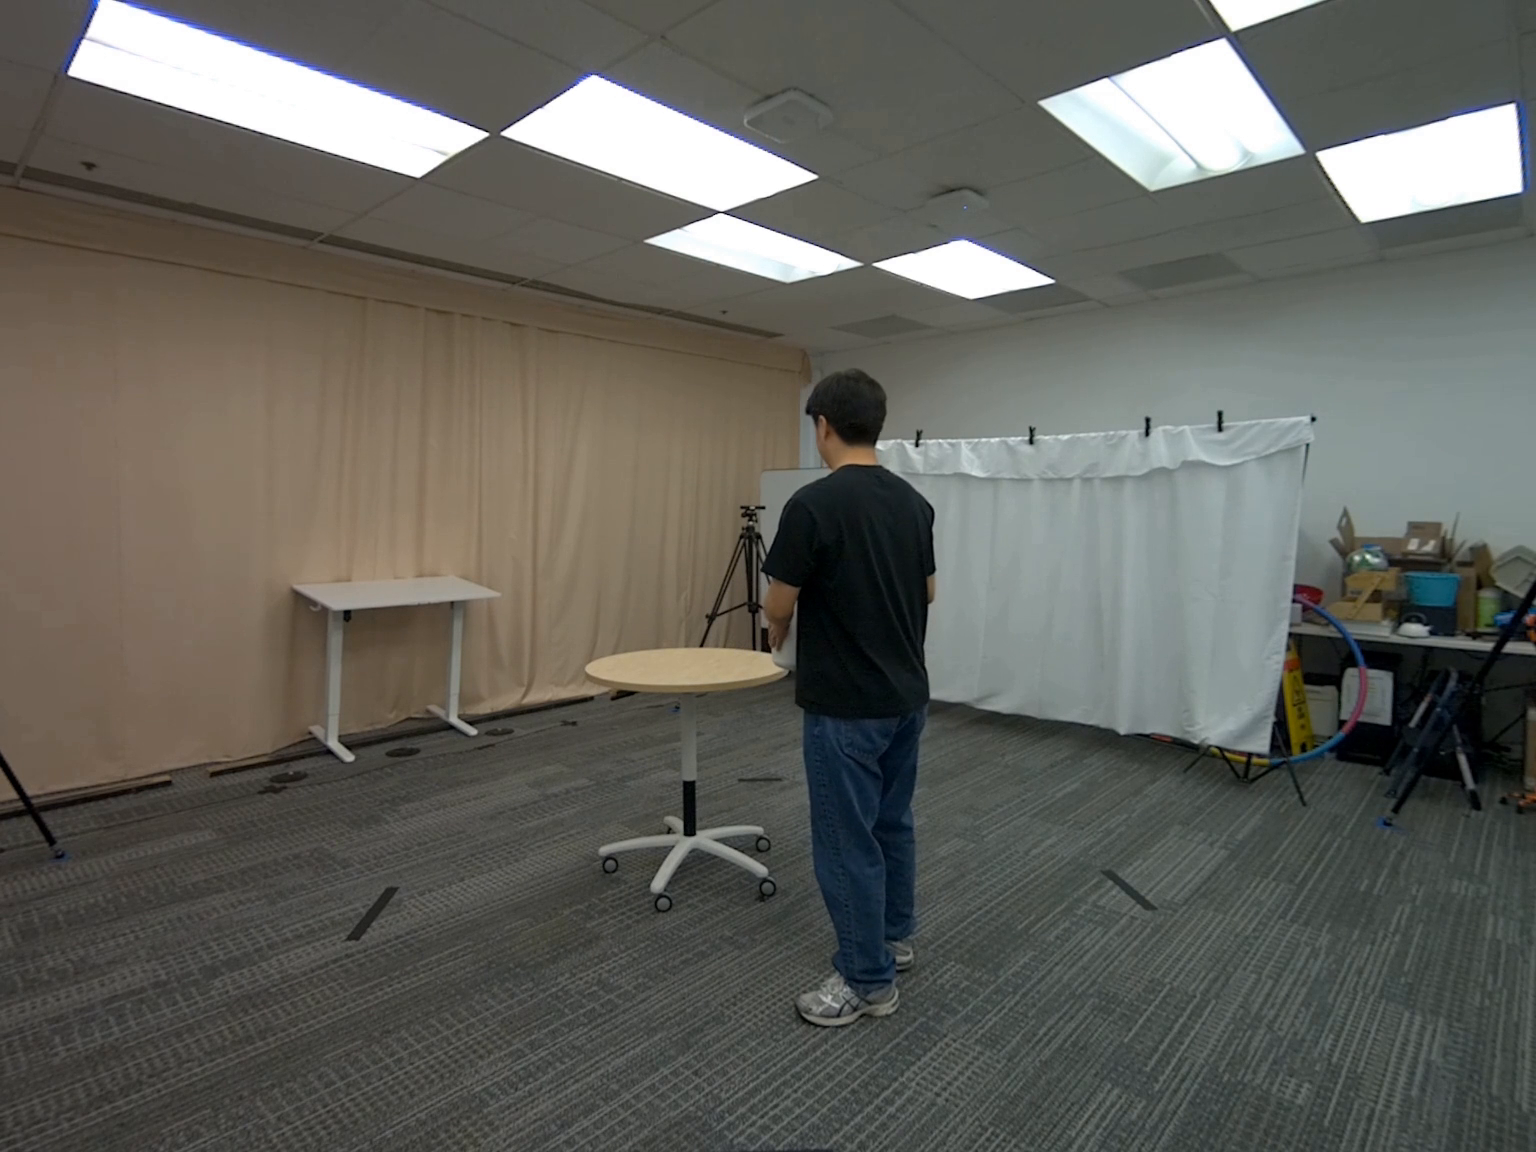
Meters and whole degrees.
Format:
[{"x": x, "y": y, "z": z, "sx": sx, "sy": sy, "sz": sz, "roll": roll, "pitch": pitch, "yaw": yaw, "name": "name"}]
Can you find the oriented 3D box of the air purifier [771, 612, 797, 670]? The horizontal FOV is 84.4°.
[{"x": 0.113, "y": 0.154, "z": 2.595, "sx": 0.167, "sy": 0.265, "sz": 0.175, "roll": -2, "pitch": 2, "yaw": -21, "name": "air purifier"}]
